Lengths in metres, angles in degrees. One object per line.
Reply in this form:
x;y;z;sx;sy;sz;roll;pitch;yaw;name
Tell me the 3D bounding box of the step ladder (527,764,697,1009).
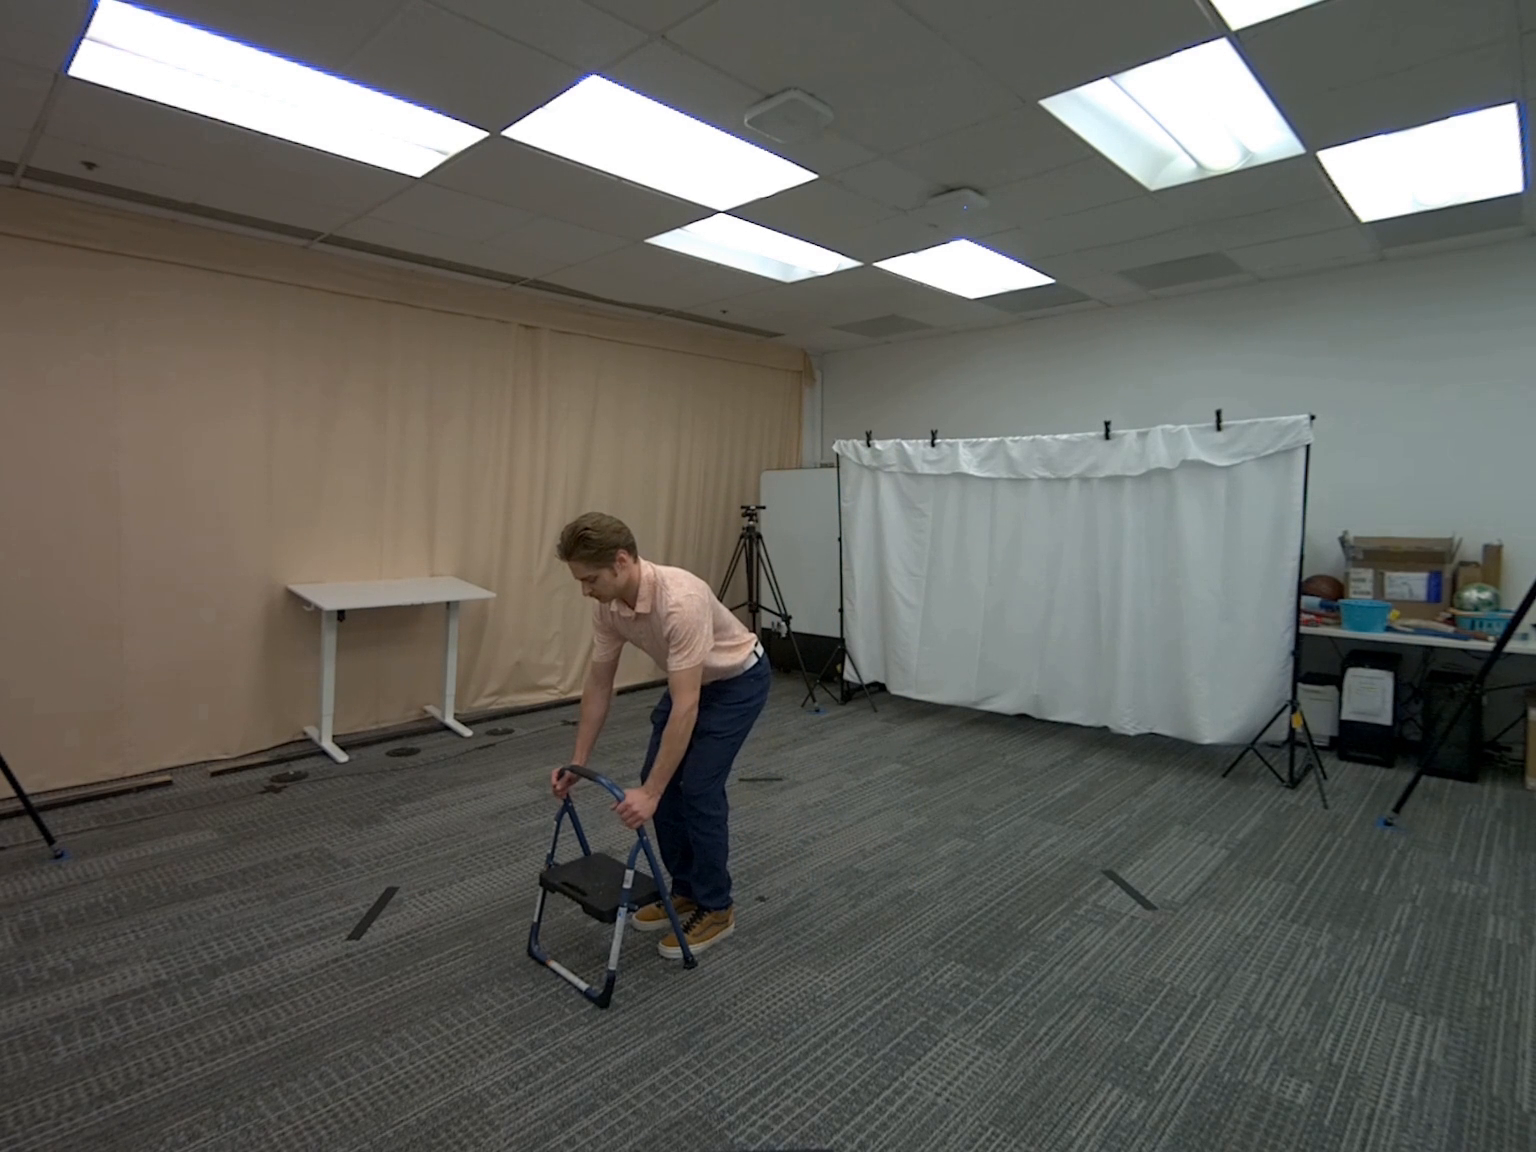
-0.493;0.870;2.560;0.445;0.605;0.339;1;4;44;step ladder
